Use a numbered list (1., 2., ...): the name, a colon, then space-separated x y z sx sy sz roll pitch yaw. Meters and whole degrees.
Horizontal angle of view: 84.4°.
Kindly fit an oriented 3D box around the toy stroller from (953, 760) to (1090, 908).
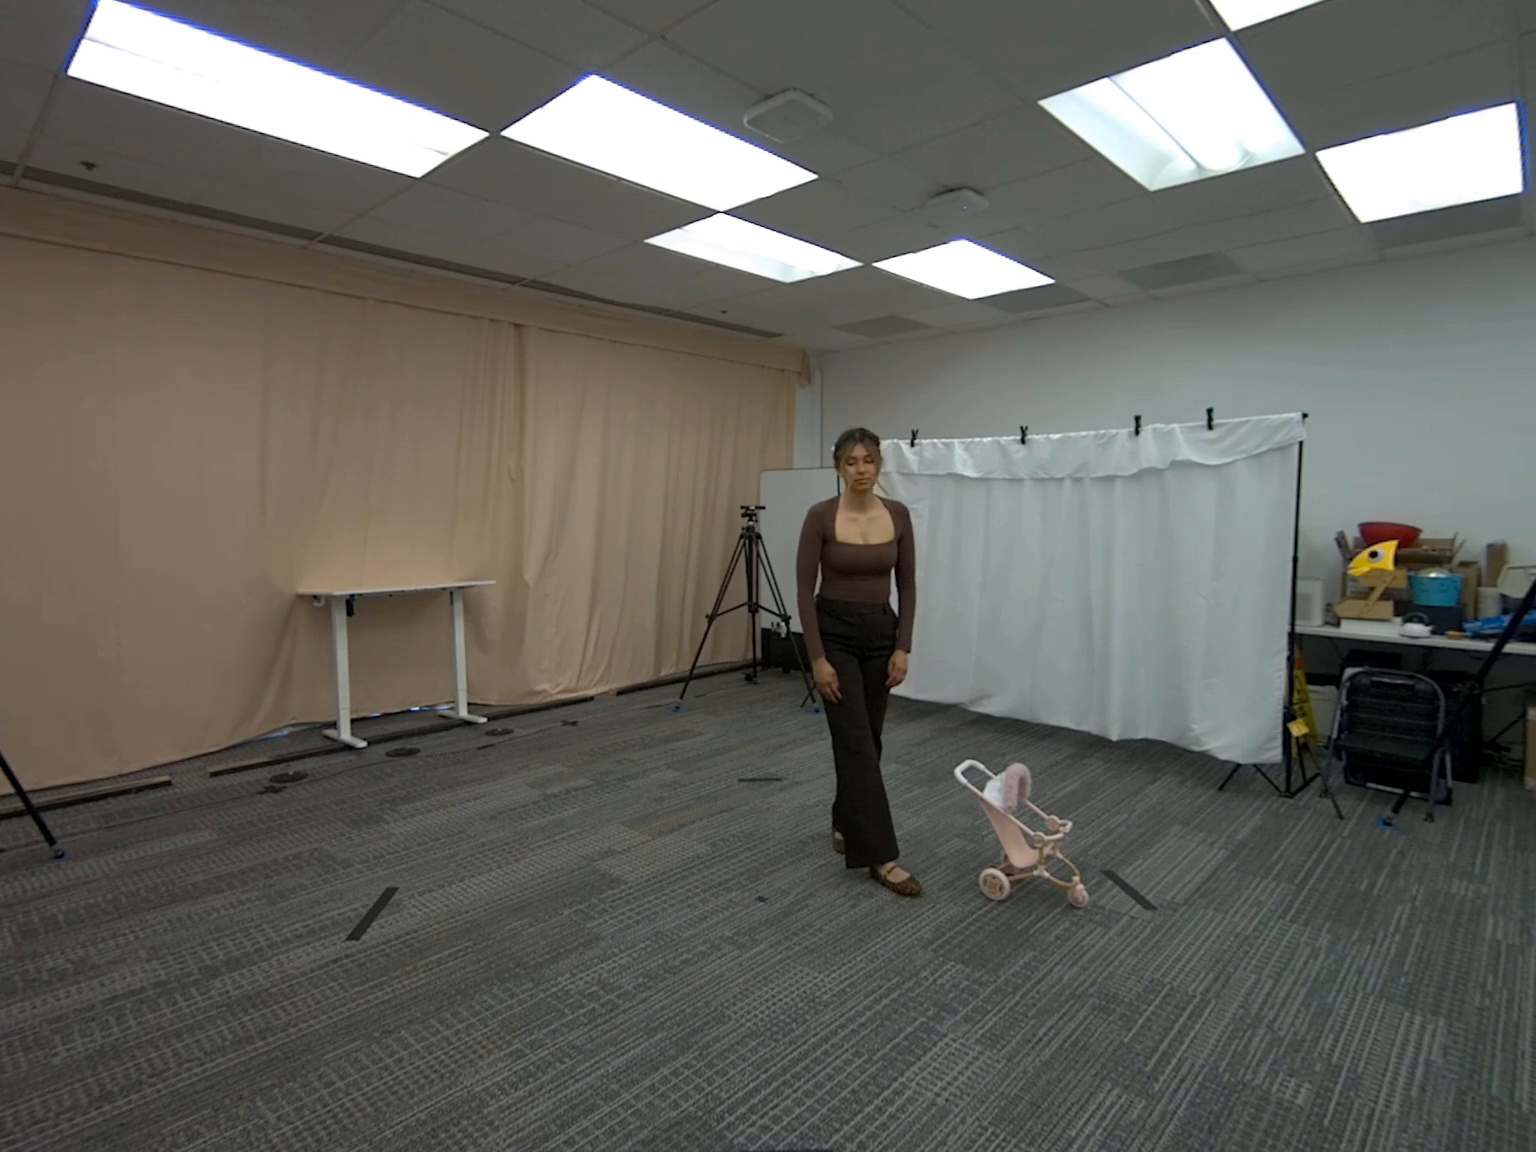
1. toy stroller: 0.924 0.917 3.021 0.349 0.539 0.273 -20 -10 39
